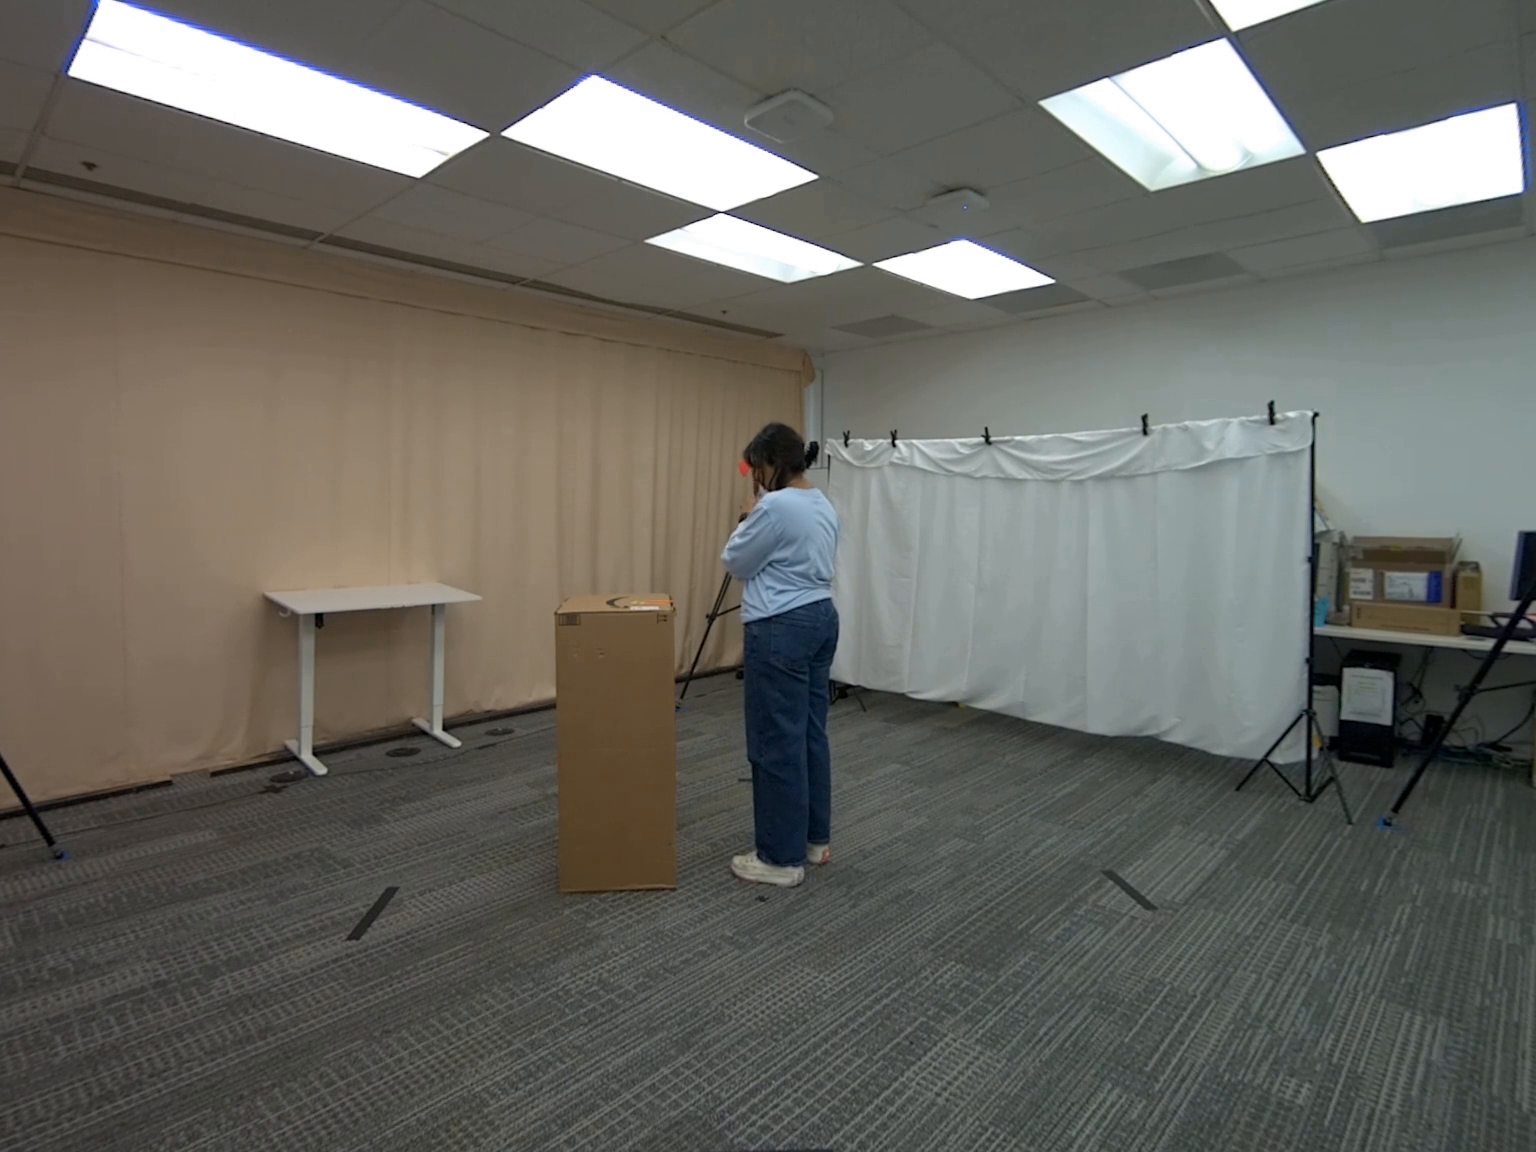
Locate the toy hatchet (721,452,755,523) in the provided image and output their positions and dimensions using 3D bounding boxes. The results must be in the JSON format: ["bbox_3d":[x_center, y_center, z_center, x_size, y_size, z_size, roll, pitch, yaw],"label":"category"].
[{"bbox_3d":[-0.084,-0.346,3.387,0.133,0.270,0.029,18,3,11],"label":"toy hatchet"}]
